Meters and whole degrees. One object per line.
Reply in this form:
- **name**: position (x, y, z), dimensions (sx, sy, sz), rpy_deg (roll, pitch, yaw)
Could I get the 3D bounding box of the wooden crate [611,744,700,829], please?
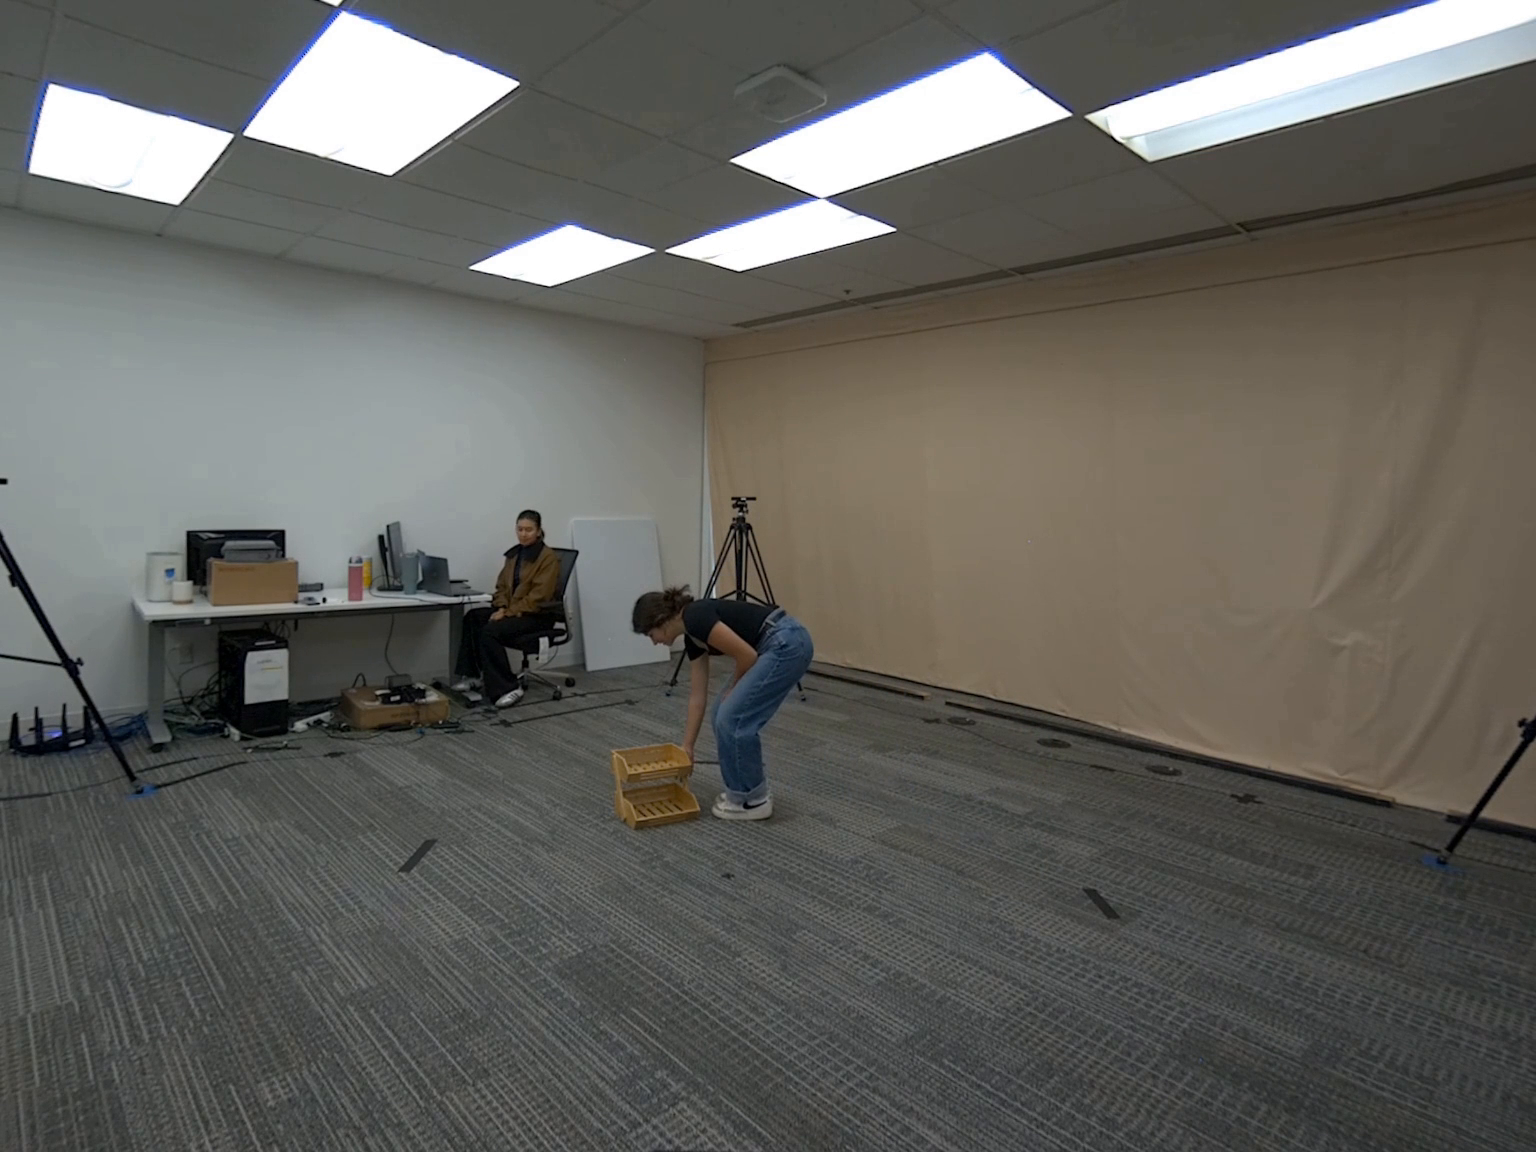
- **wooden crate**: position (-0.503, 0.911, 3.692), dimensions (0.318, 0.273, 0.309), rpy_deg (0, 4, -31)
